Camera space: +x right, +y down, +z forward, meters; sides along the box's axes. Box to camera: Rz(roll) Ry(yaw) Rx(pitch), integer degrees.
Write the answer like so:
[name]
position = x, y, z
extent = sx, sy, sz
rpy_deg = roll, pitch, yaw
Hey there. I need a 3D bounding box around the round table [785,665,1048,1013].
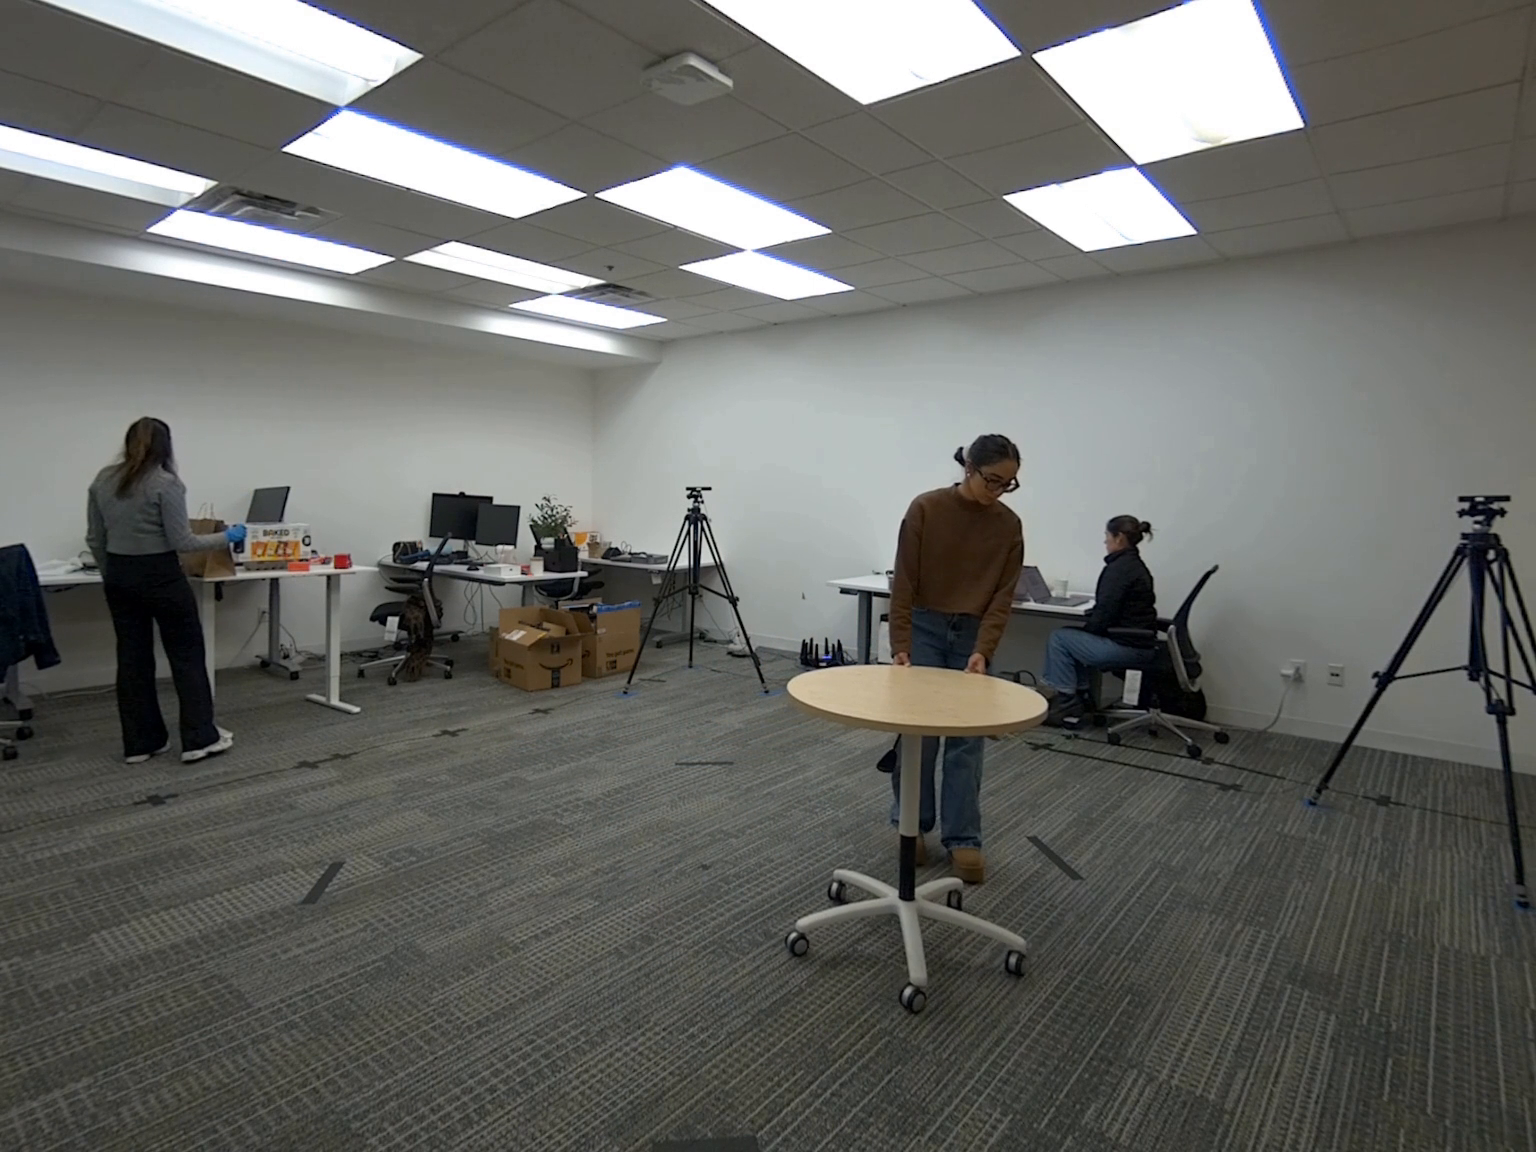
[round table]
position = 0.422, 0.739, 2.604
extent = 0.763, 0.791, 0.768
rpy_deg = 1, 4, -2
